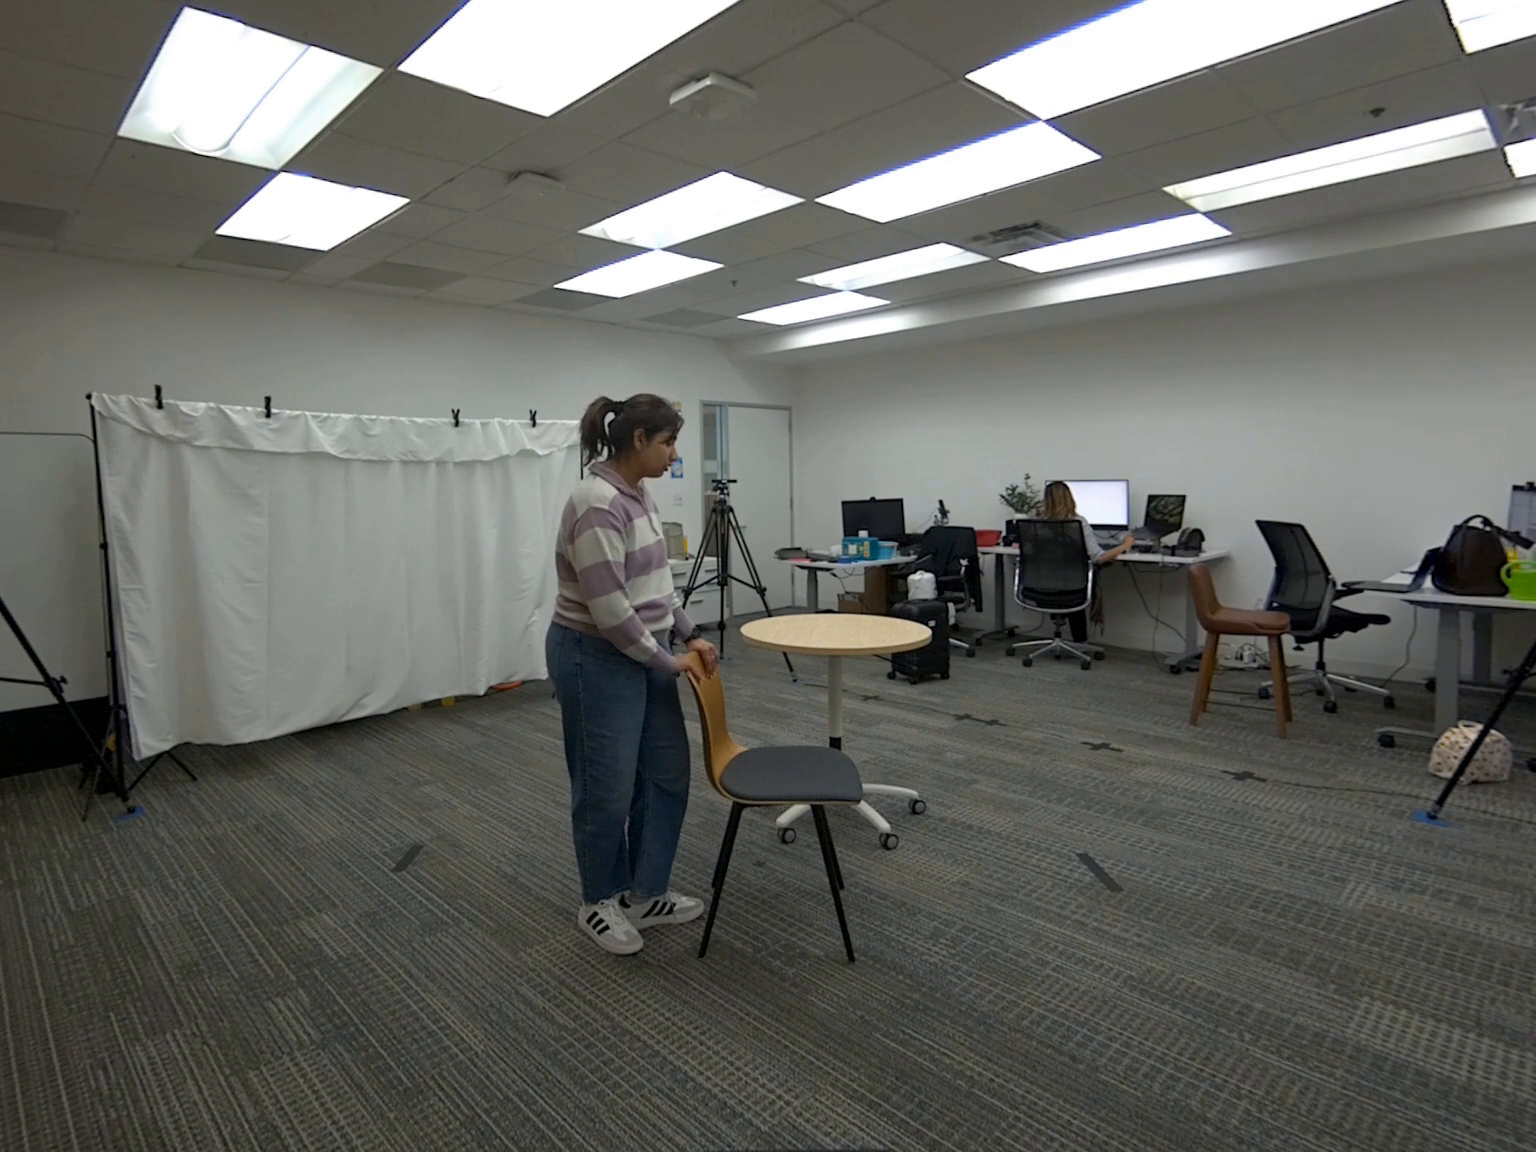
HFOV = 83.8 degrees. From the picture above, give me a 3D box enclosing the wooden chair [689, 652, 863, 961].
[{"bbox_3d":[0.031,0.669,2.676,0.525,0.874,0.478,-5,4,3],"label":"wooden chair"}]
